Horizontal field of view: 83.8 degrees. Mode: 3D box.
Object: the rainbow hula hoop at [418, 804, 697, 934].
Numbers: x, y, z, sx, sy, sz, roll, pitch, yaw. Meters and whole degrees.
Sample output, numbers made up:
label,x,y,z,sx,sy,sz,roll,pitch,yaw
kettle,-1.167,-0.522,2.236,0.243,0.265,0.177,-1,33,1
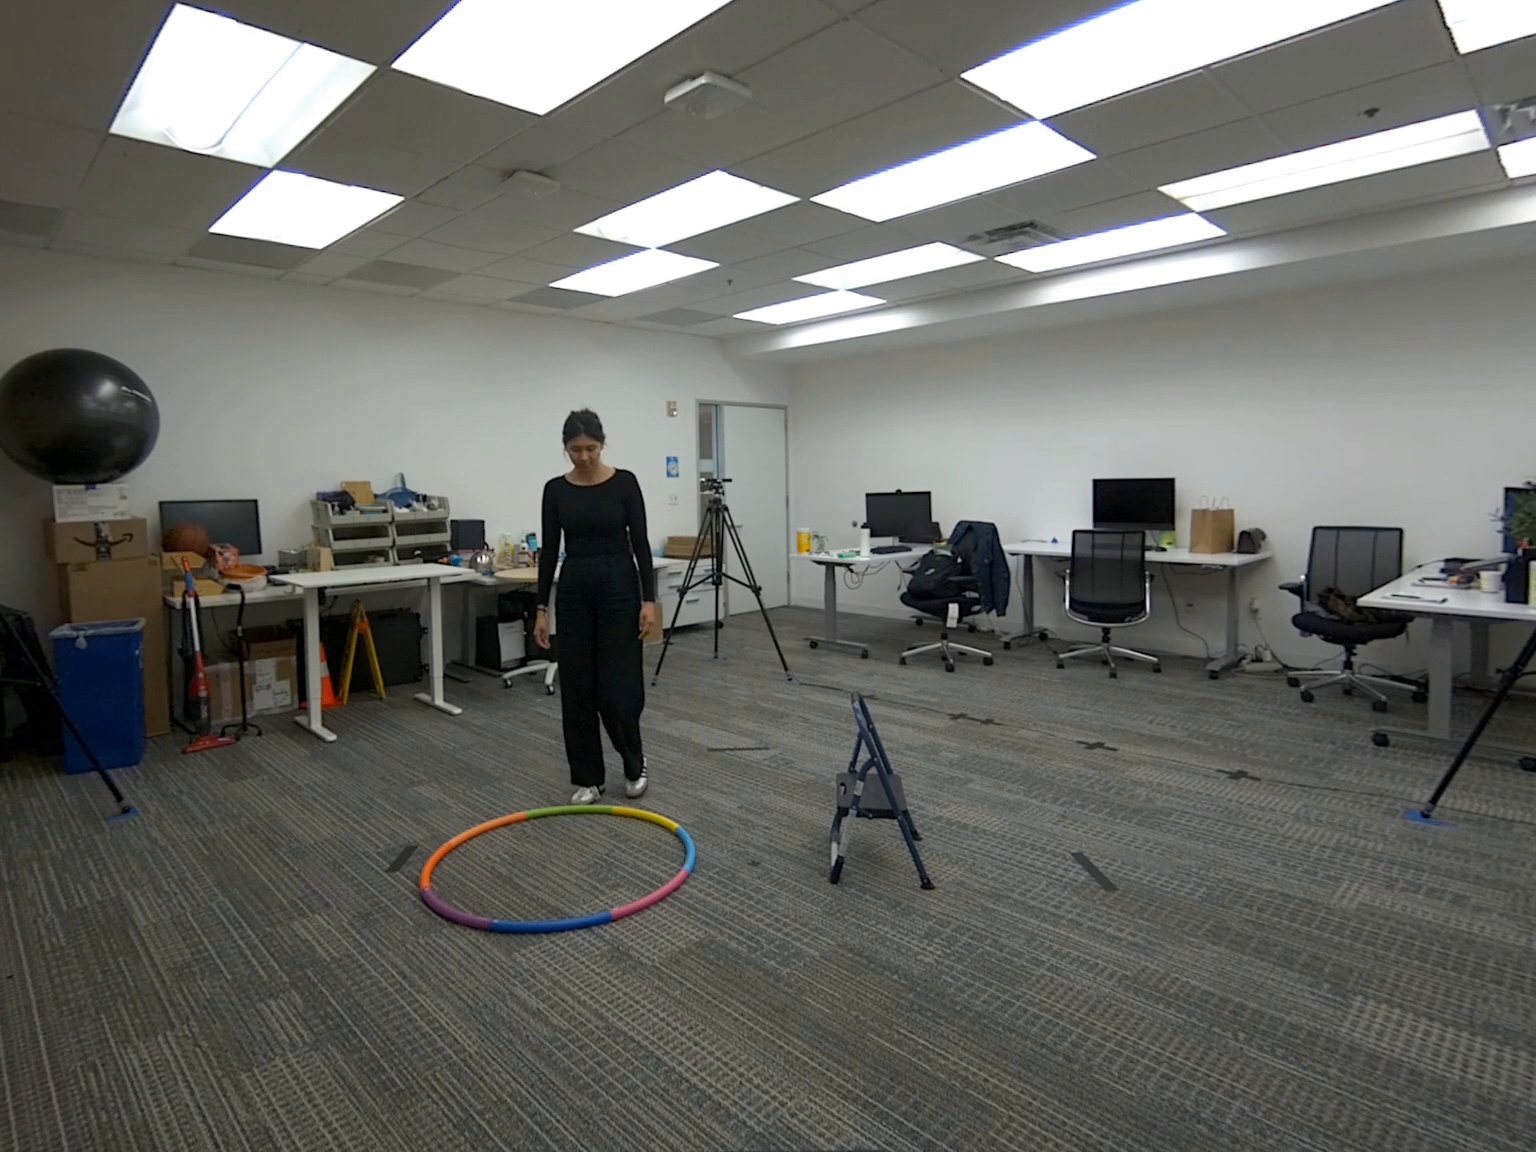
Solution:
label,x,y,z,sx,sy,sz,roll,pitch,yaw
rainbow hula hoop,-0.748,1.023,3.133,0.978,0.035,0.984,-1,7,-2
